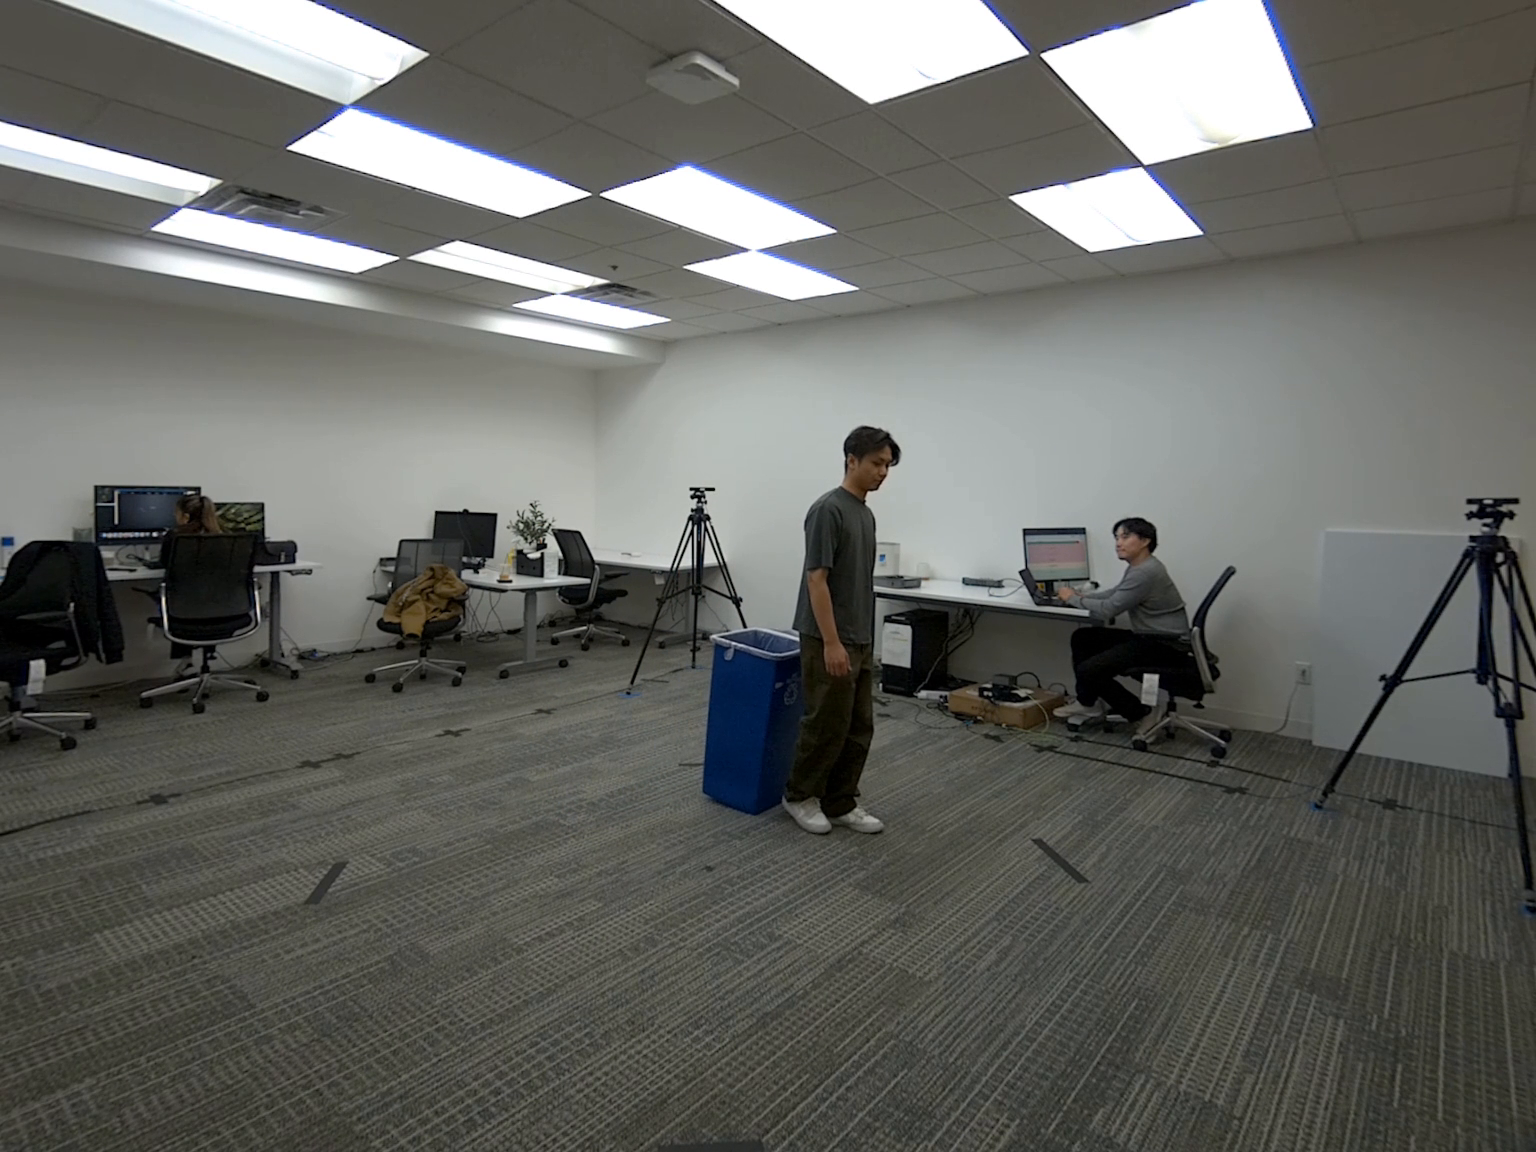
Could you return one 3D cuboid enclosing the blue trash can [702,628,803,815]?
[{"bbox_3d":[-0.062,0.631,3.800,0.391,0.709,0.363,11,9,34],"label":"blue trash can"}]
